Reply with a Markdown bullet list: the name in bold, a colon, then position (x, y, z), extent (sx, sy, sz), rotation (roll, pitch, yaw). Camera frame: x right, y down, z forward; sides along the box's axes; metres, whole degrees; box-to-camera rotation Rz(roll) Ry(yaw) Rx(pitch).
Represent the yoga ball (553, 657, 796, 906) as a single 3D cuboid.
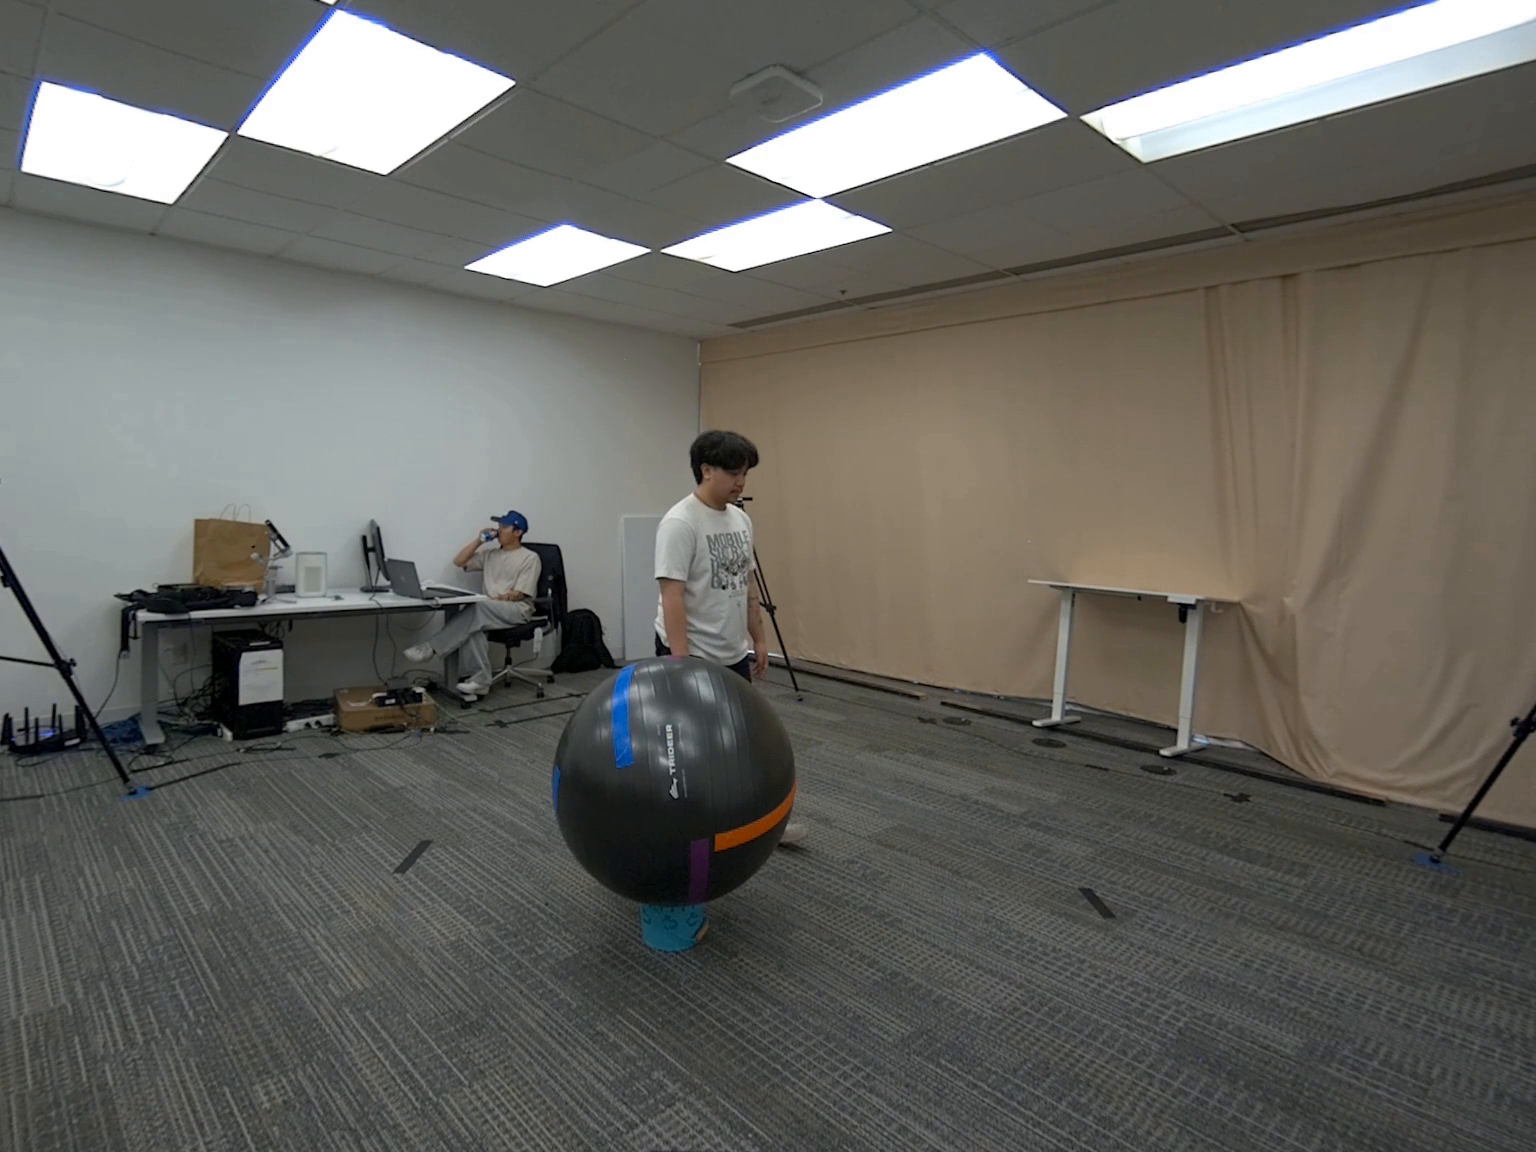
- **yoga ball**: position (-0.299, 0.635, 2.646), extent (0.757, 0.756, 0.760), rotation (1, 4, -1)
